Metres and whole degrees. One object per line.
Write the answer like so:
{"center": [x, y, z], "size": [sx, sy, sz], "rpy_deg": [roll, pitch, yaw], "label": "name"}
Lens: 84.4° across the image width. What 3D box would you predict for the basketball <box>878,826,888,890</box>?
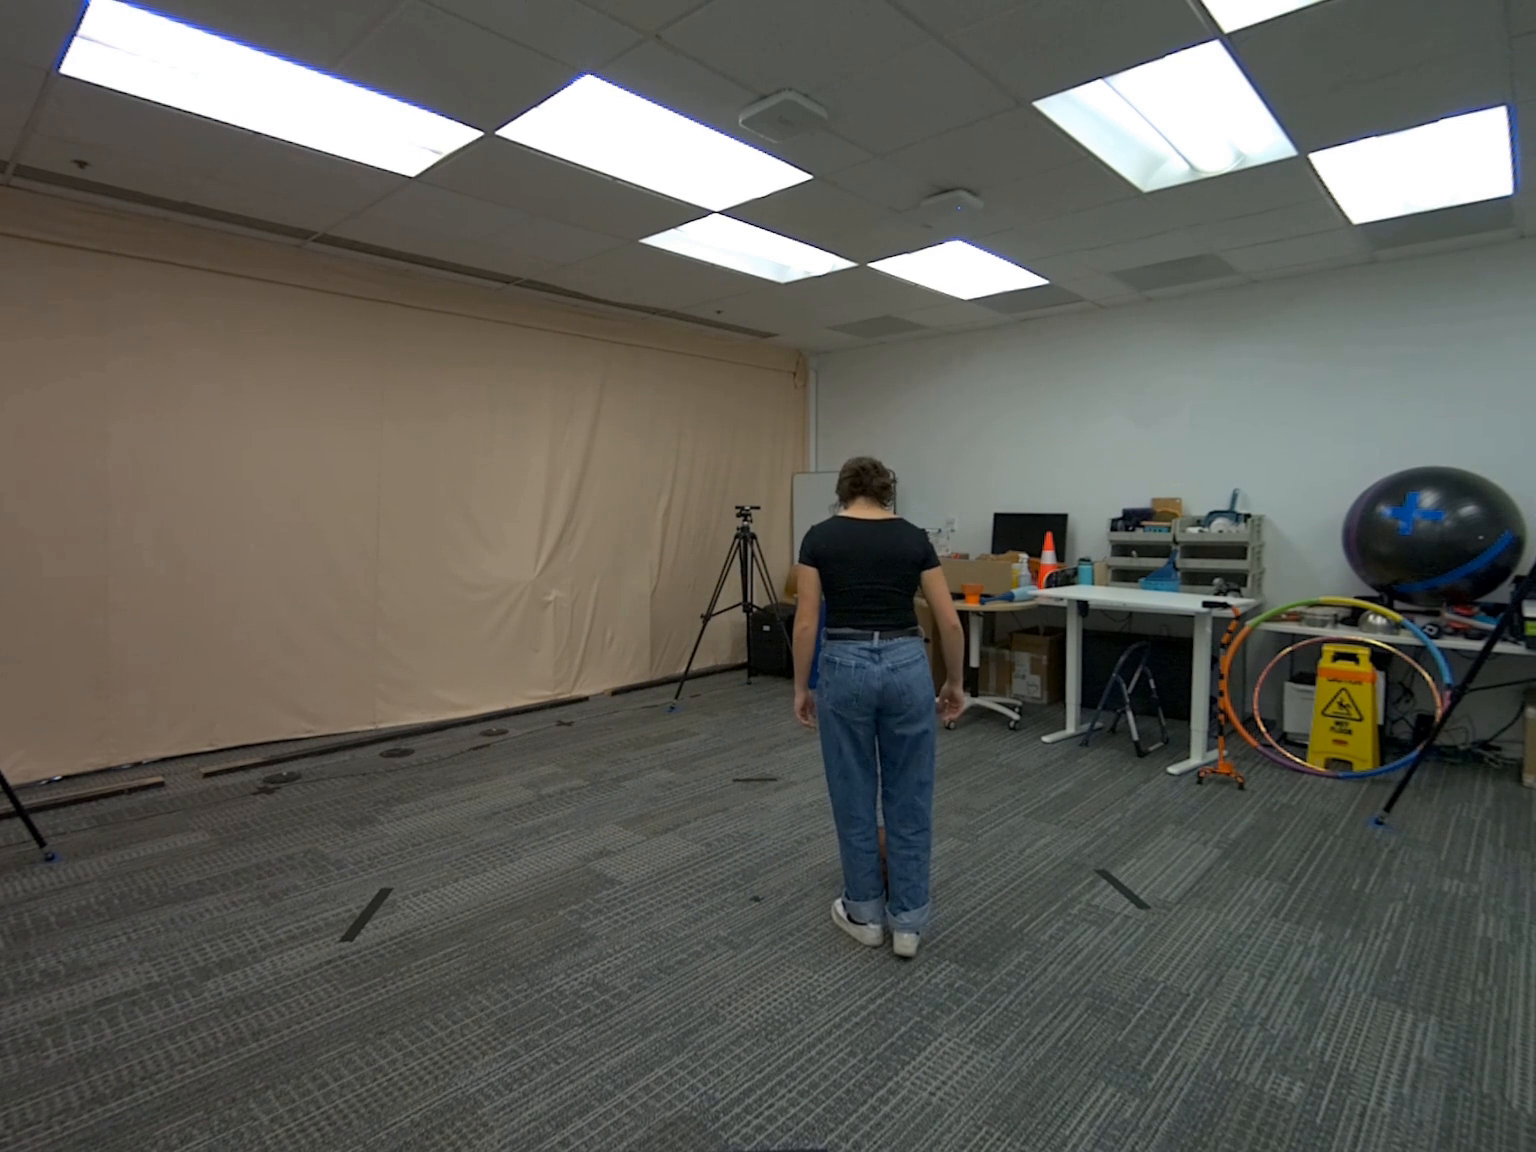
{"center": [0.440, 1.018, 3.017], "size": [0.236, 0.235, 0.237], "rpy_deg": [0, 4, -2], "label": "basketball"}
